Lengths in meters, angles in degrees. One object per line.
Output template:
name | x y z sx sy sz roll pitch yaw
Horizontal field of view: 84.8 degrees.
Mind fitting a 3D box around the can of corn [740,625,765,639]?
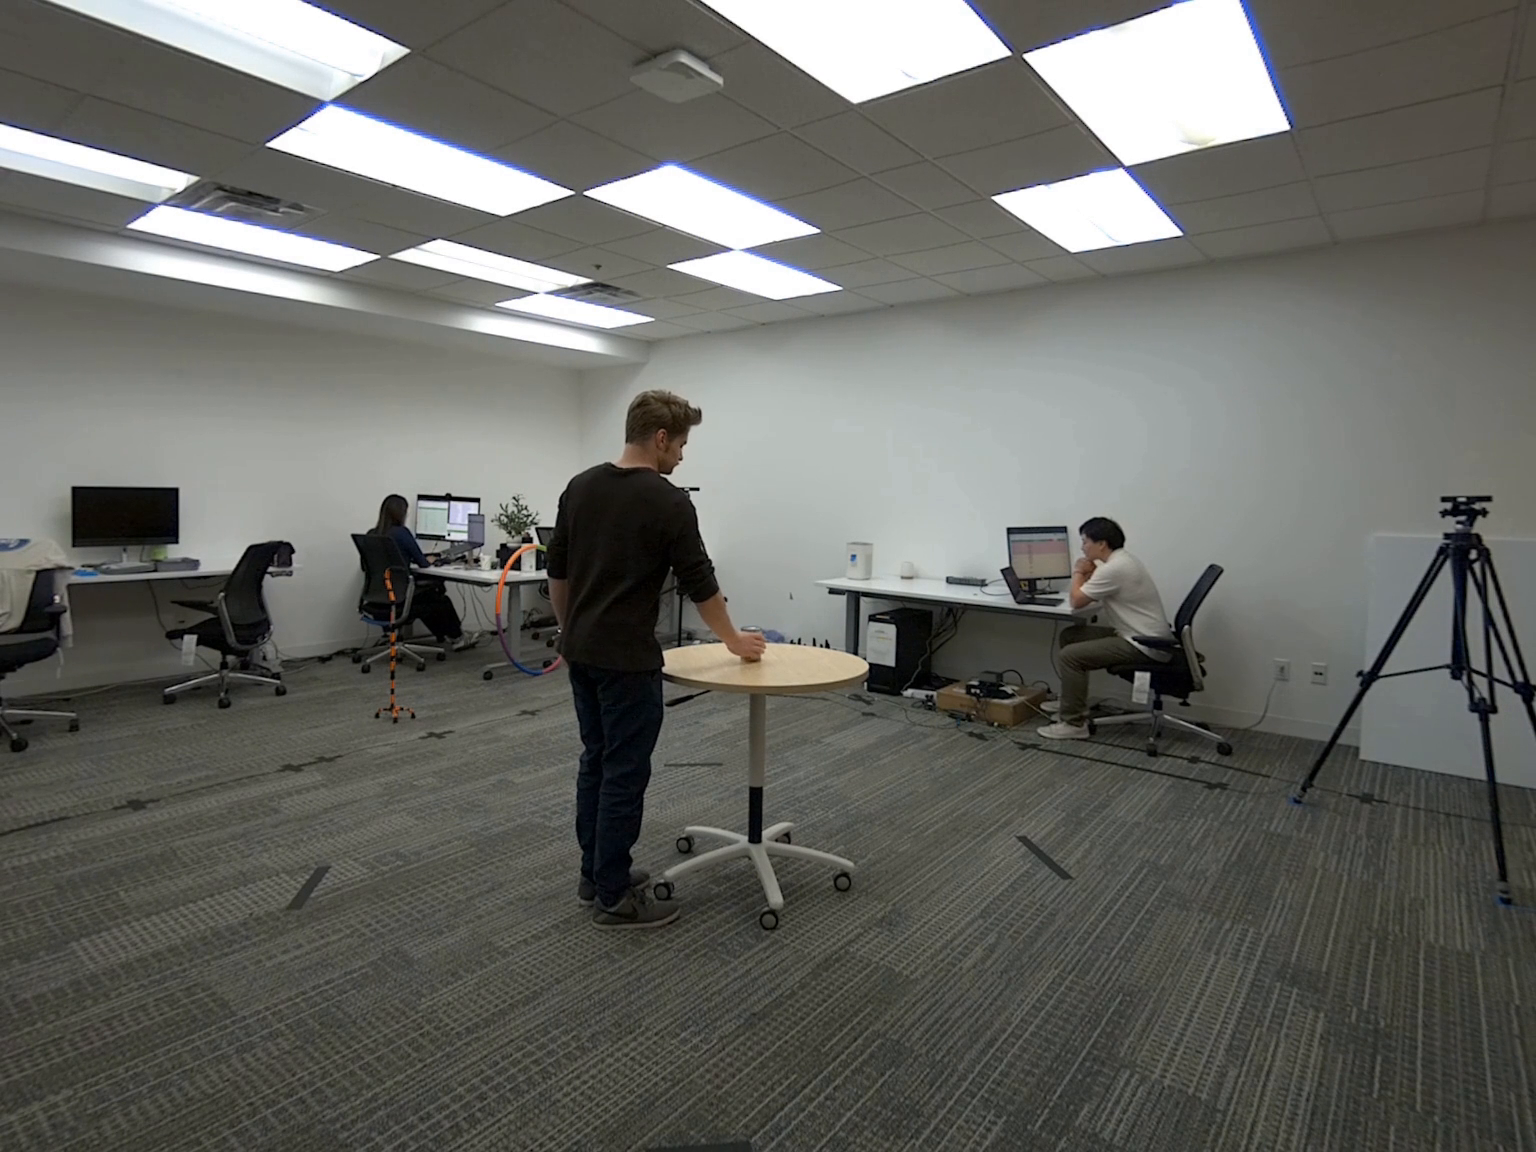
can of corn | -0.070 0.246 3.005 0.074 0.110 0.075 -2 7 -2
